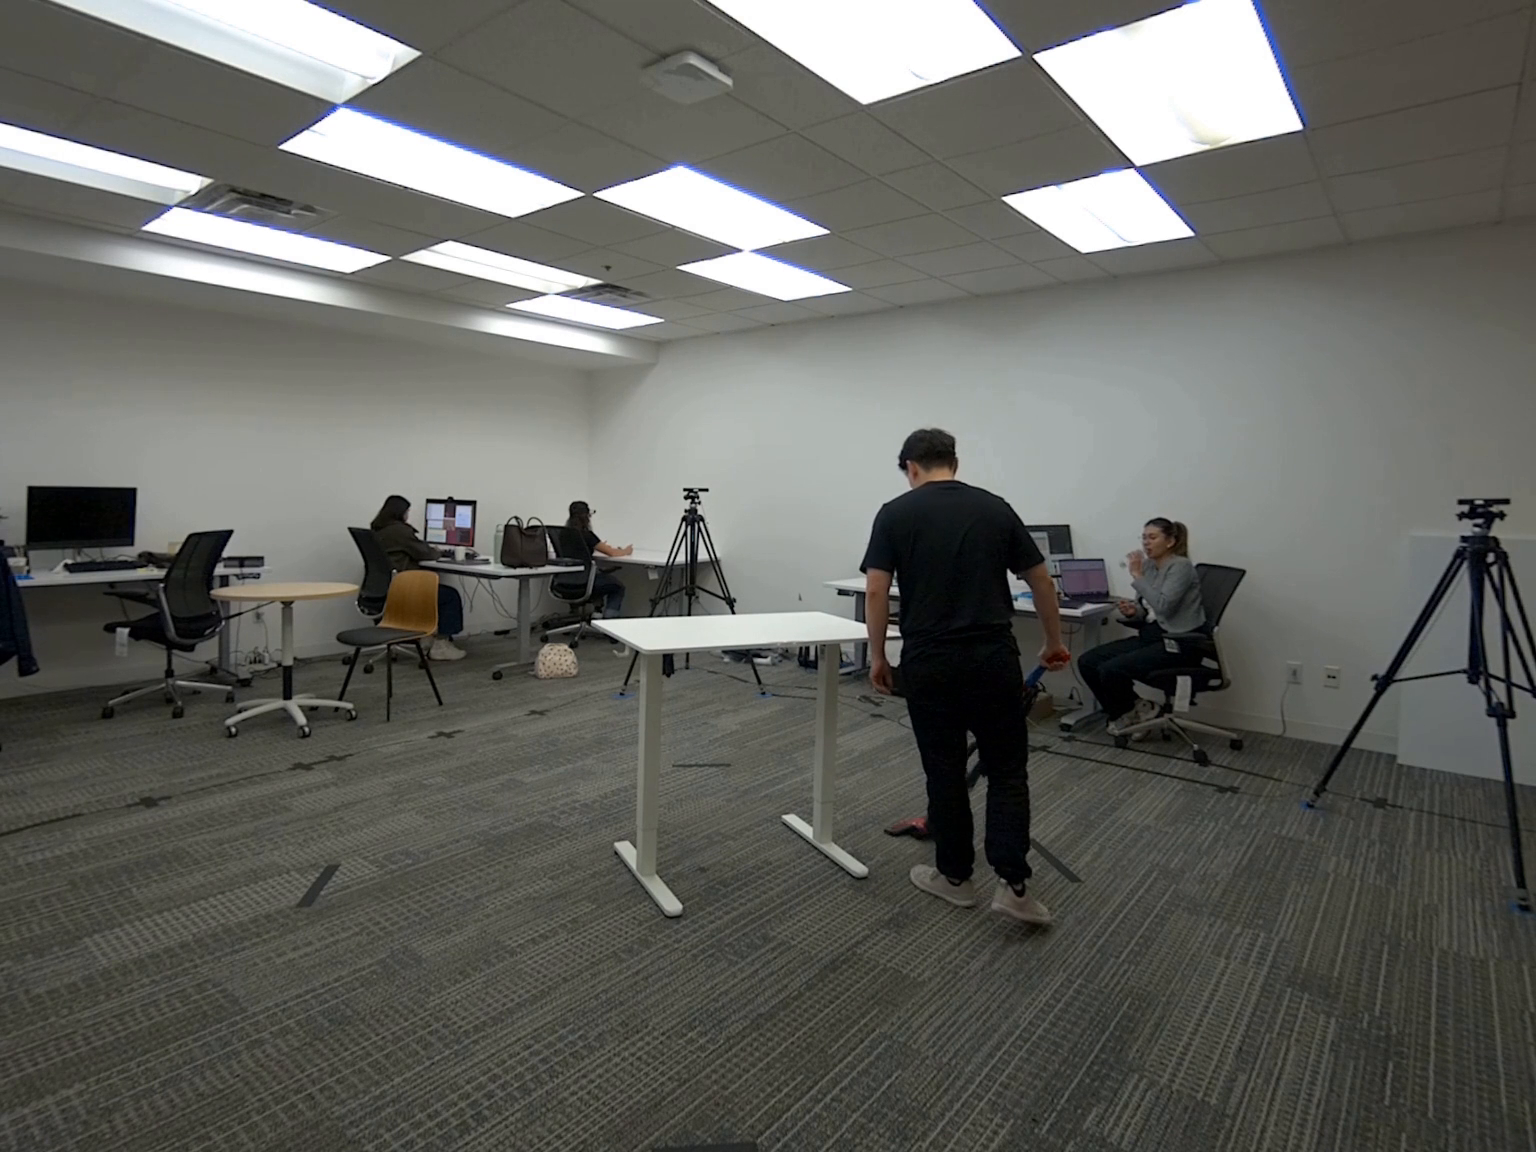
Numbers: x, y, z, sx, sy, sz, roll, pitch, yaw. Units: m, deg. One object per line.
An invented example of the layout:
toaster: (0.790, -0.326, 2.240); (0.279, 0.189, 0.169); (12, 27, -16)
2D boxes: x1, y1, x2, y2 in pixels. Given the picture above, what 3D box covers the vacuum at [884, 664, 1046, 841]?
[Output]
vacuum: (0.800, 0.665, 3.225); (0.245, 1.039, 0.150); (-4, 45, -40)
